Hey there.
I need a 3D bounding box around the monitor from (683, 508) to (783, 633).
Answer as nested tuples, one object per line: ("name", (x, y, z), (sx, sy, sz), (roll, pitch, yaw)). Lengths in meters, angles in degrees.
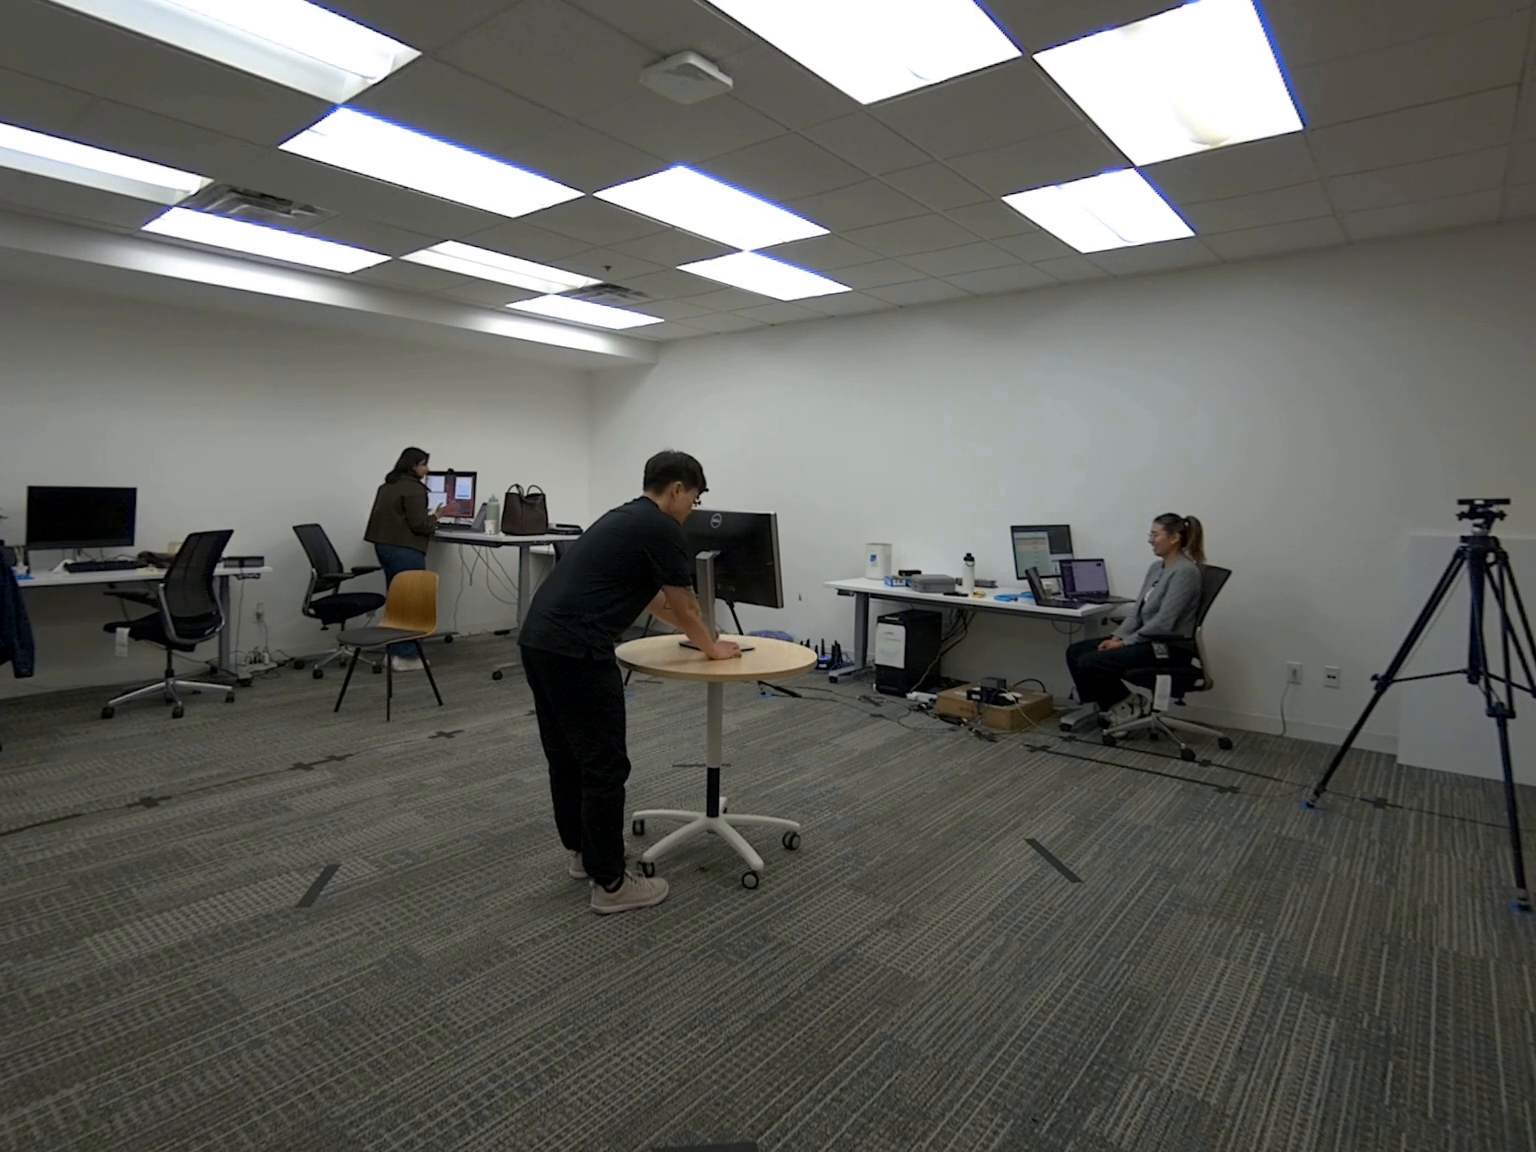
("monitor", (-0.204, 0.008, 3.304), (0.558, 0.521, 0.181), (7, 3, 43))
